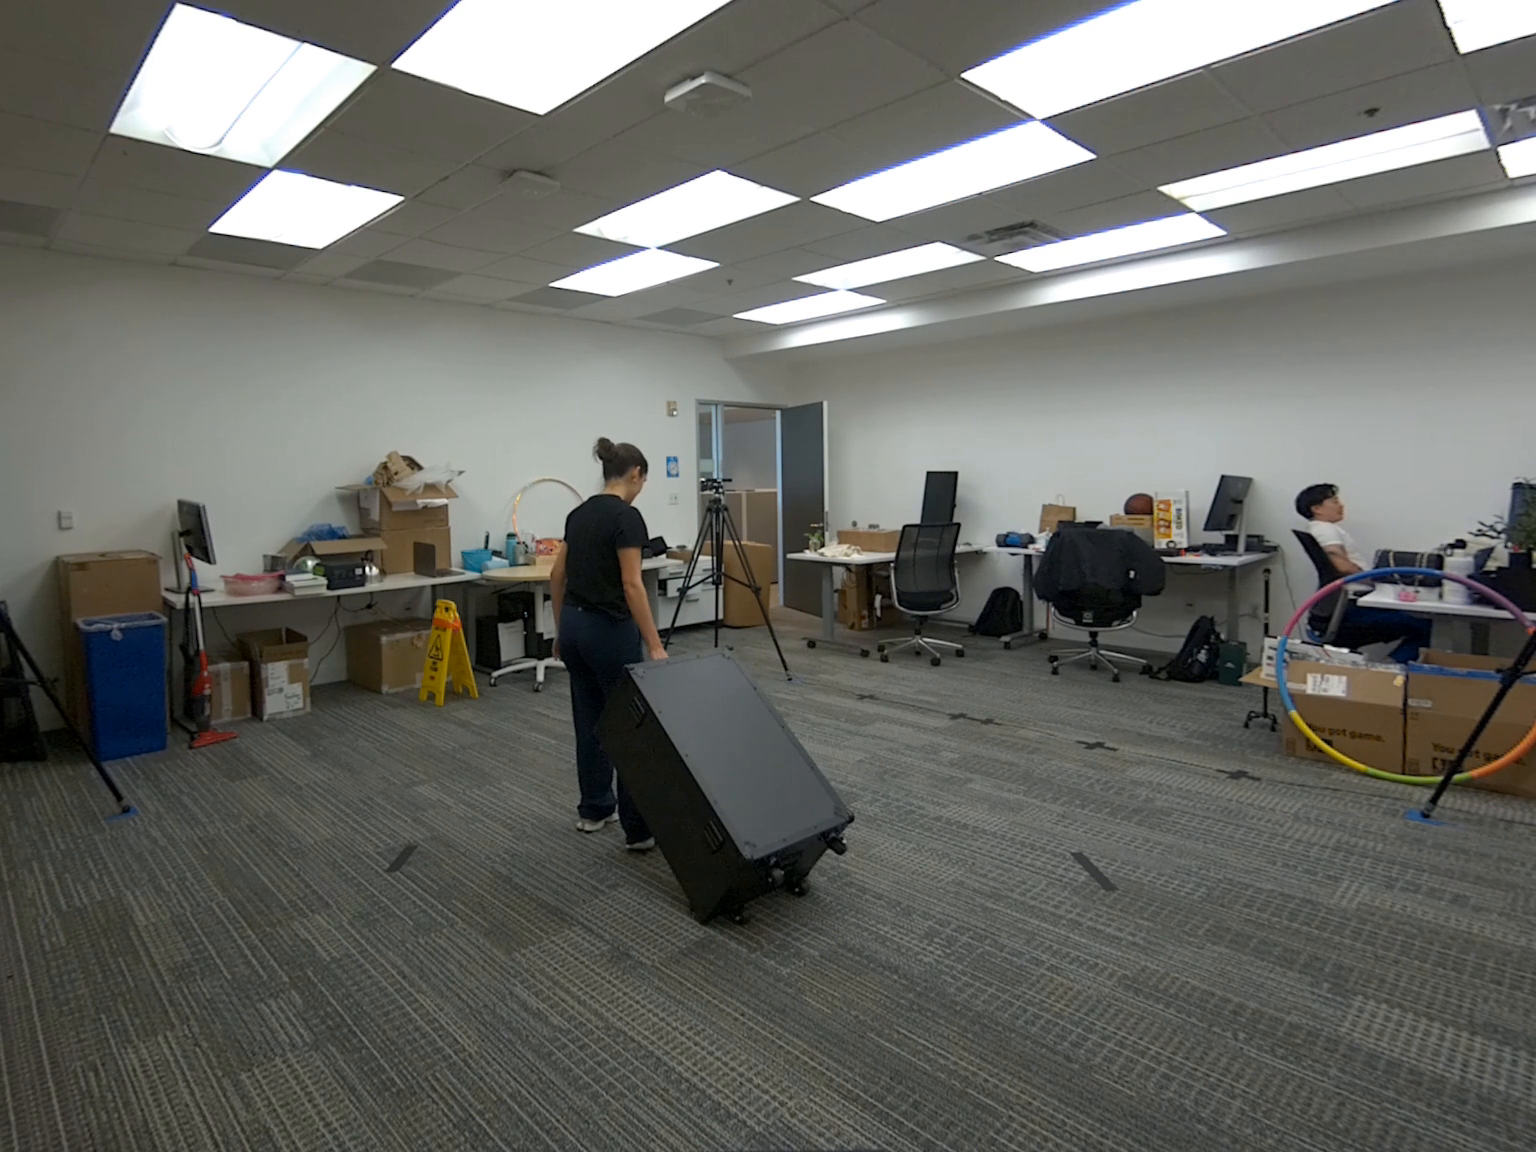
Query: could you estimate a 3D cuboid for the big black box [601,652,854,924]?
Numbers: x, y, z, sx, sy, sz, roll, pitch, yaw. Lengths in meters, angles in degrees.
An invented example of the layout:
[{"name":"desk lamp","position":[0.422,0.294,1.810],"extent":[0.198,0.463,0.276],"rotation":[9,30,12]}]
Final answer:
[{"name":"big black box","position":[-0.164,0.706,2.947],"extent":[0.507,0.393,0.893],"rotation":[-5,45,-42]}]
